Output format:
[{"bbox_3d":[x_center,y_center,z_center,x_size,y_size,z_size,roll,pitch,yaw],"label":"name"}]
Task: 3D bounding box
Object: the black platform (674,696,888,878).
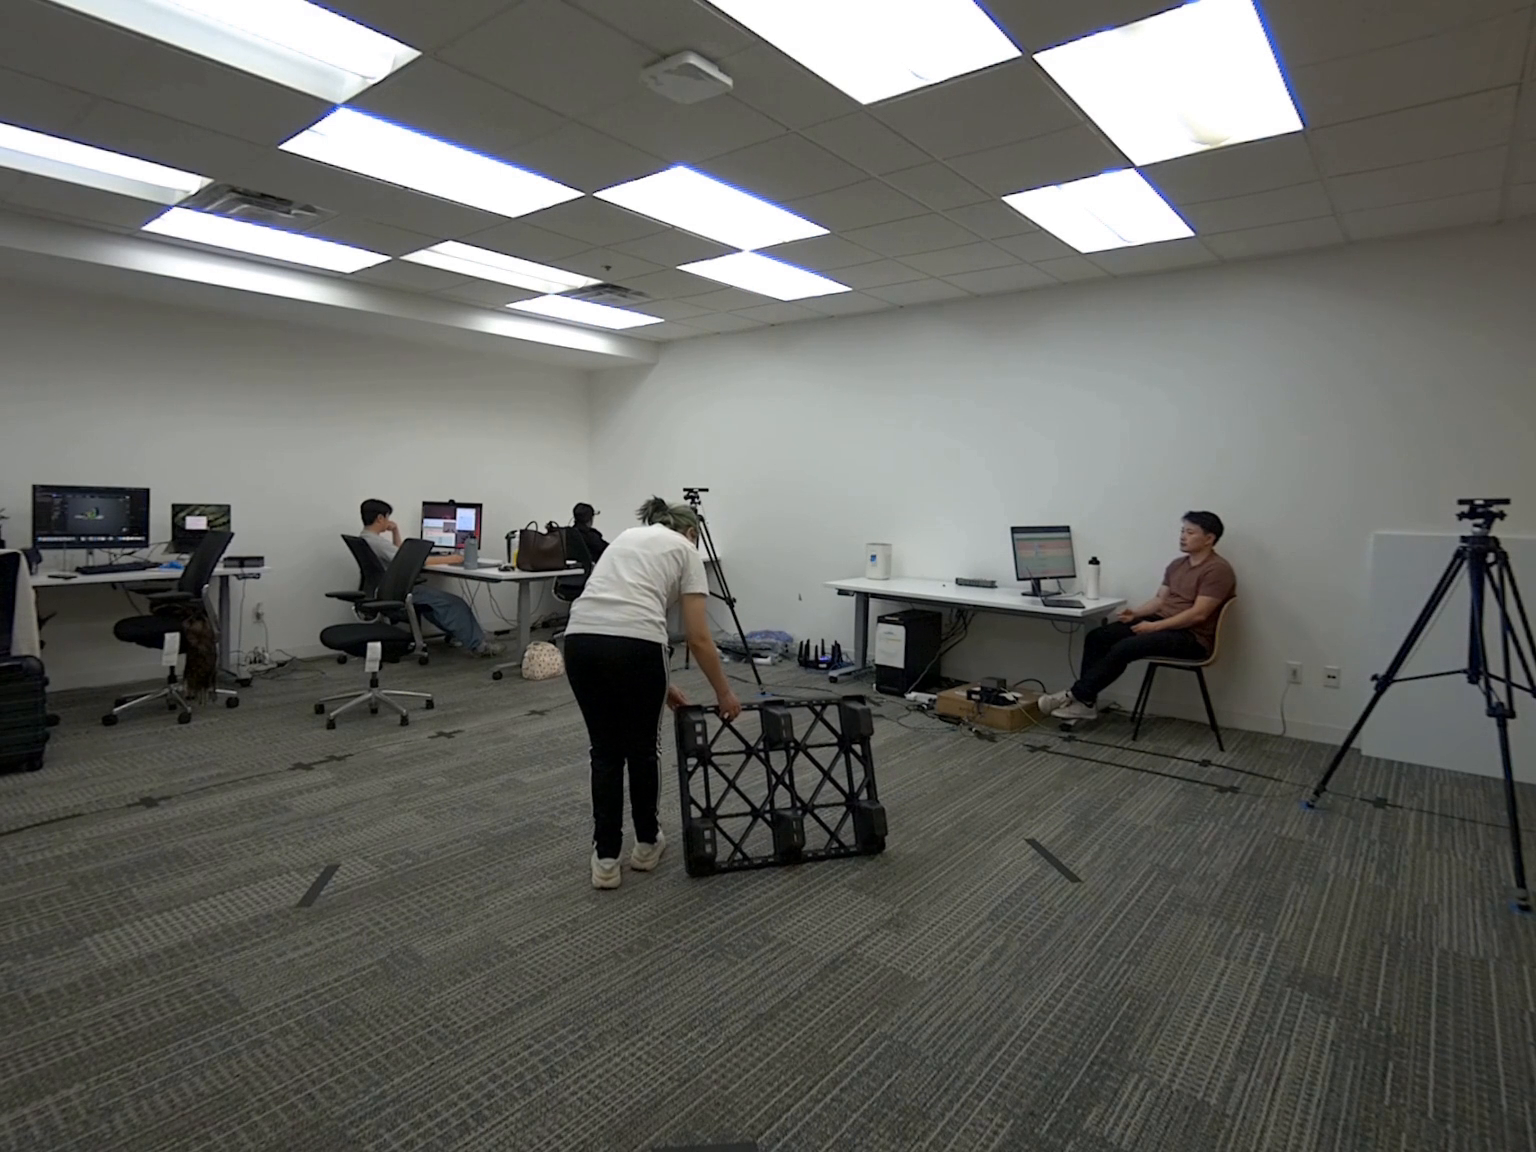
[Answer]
[{"bbox_3d":[0.059,0.752,3.218,0.790,0.615,0.143,-1,-16,-18],"label":"black platform"}]
